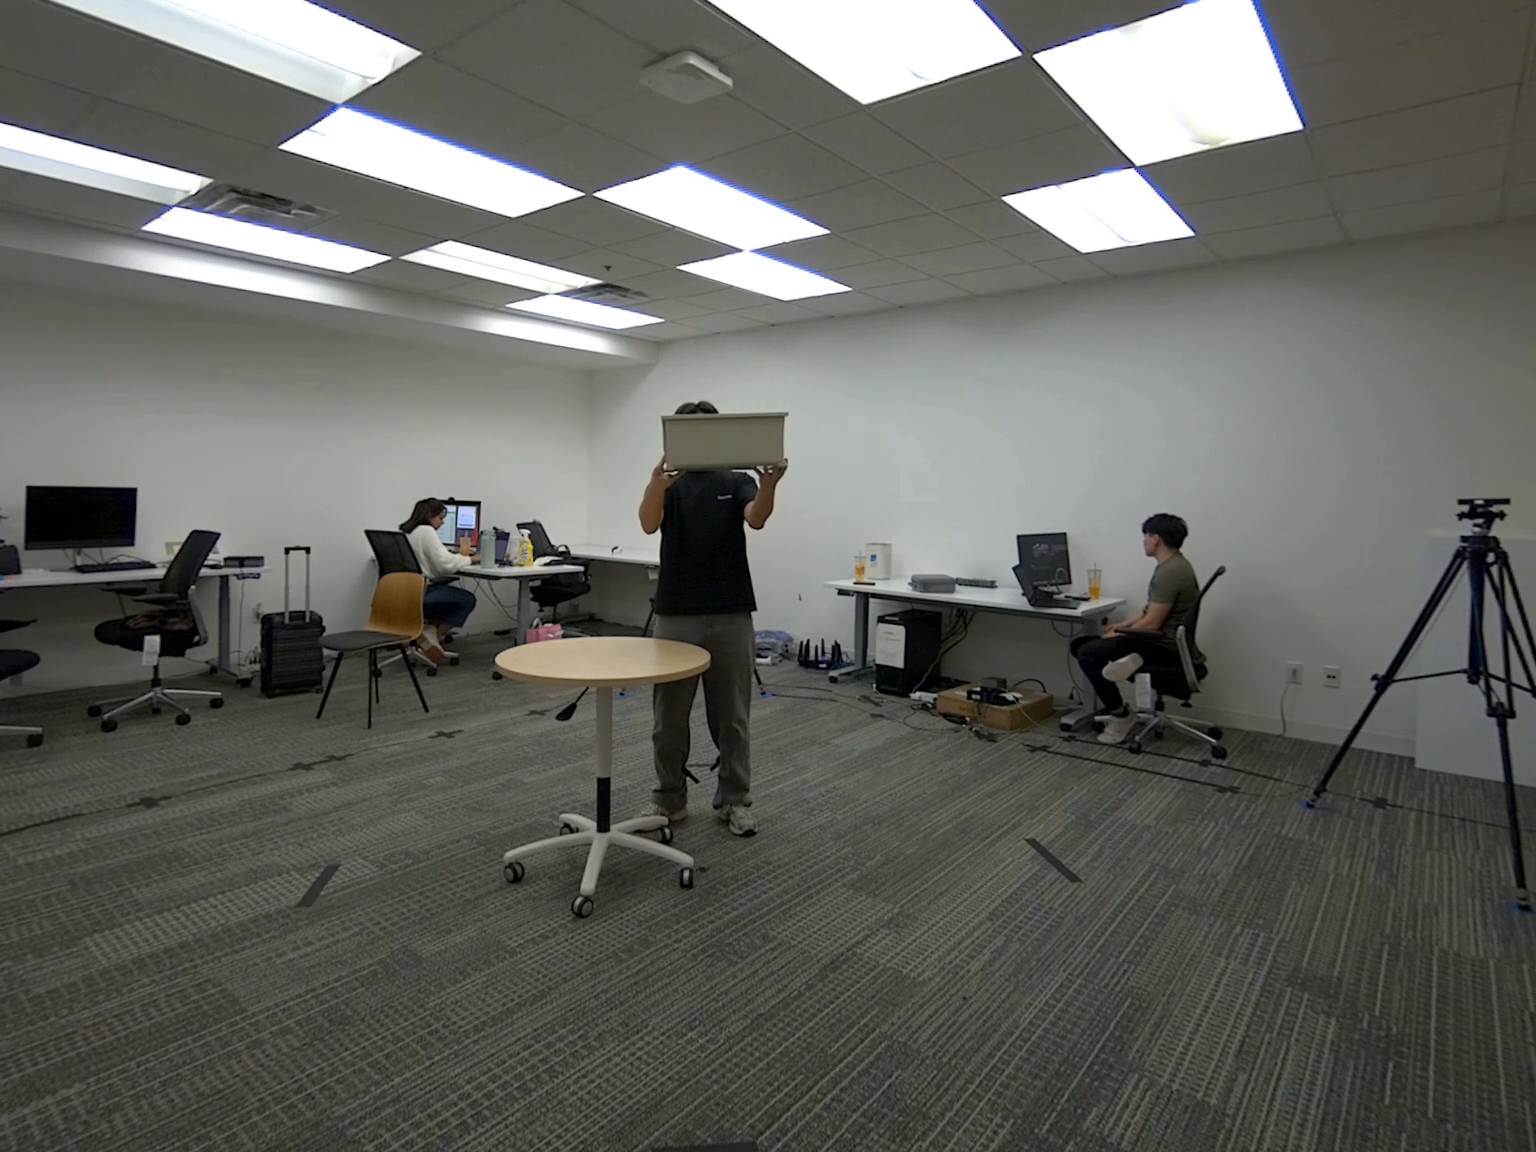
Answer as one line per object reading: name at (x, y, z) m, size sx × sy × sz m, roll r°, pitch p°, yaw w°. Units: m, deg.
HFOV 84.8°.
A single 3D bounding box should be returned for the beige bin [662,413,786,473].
beige bin at (-0.166, -0.475, 2.996) m, size 0.420 × 0.187 × 0.383 m, roll -1°, pitch 11°, yaw -5°
